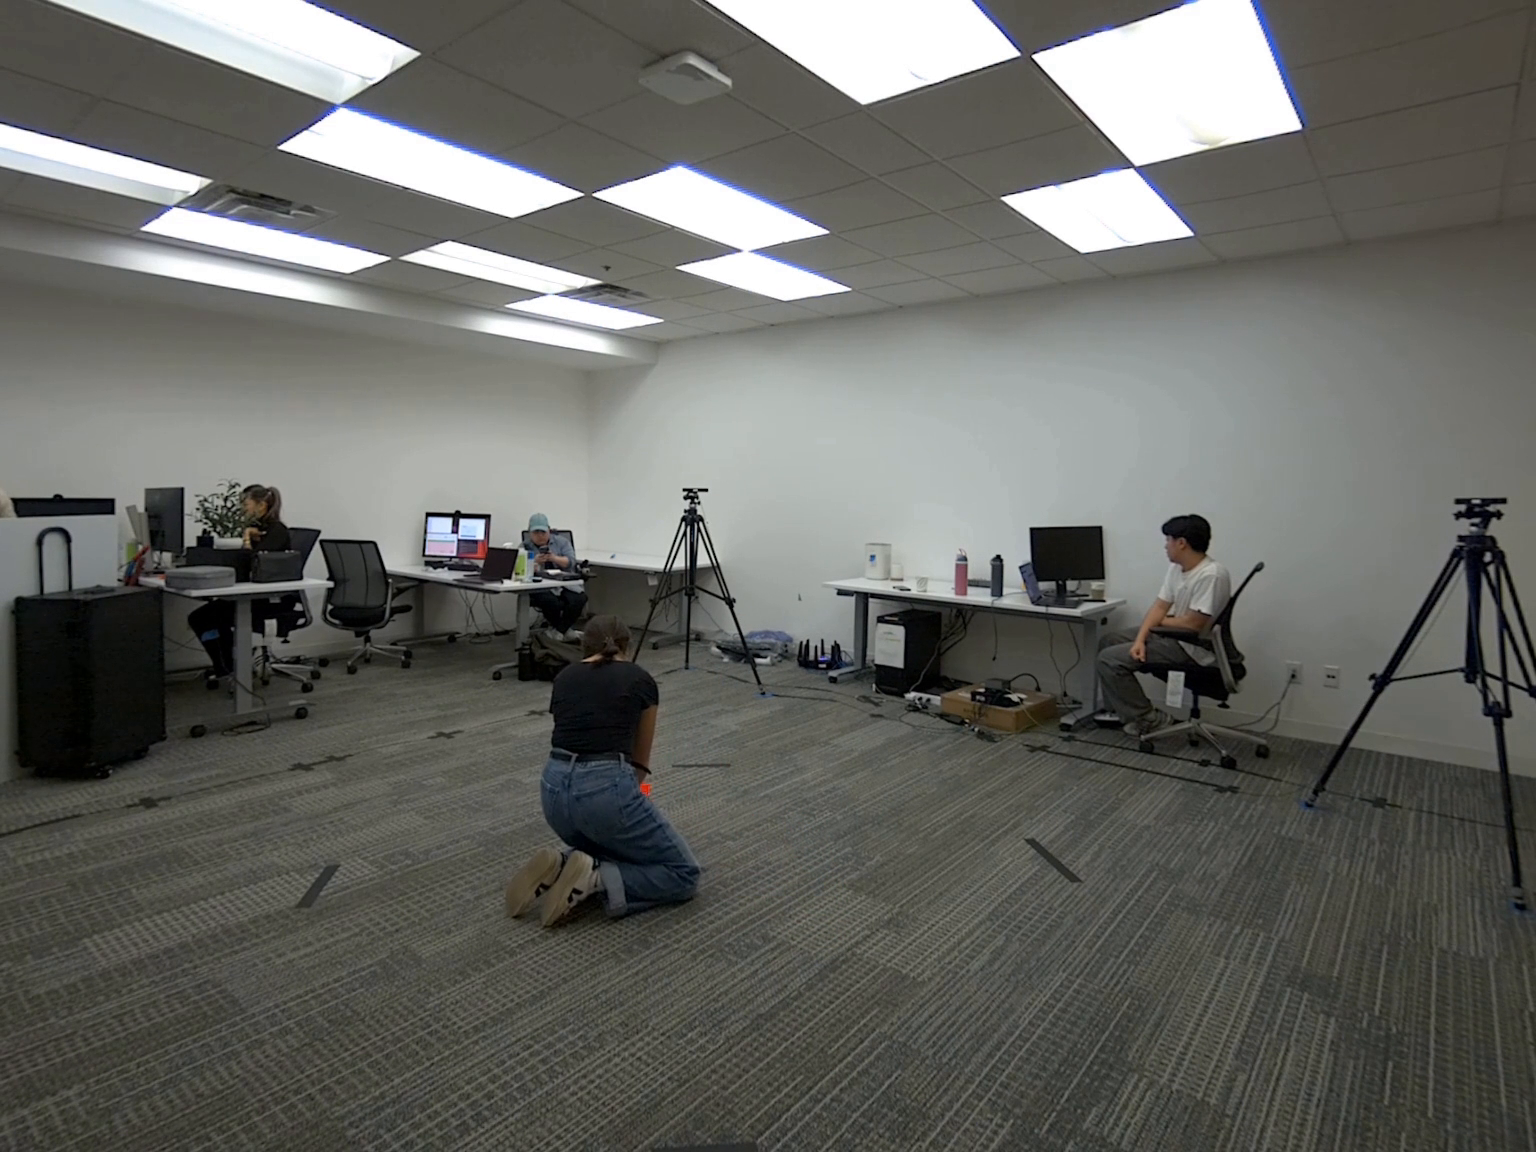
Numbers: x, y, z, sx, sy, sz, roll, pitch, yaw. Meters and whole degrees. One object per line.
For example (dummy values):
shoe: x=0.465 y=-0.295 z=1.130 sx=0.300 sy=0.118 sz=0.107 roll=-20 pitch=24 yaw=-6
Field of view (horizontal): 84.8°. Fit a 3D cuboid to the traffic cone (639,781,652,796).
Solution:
traffic cone: x=-0.514 y=0.980 z=3.277 sx=0.200 sy=0.202 sz=0.395 roll=5 pitch=17 yaw=-17
